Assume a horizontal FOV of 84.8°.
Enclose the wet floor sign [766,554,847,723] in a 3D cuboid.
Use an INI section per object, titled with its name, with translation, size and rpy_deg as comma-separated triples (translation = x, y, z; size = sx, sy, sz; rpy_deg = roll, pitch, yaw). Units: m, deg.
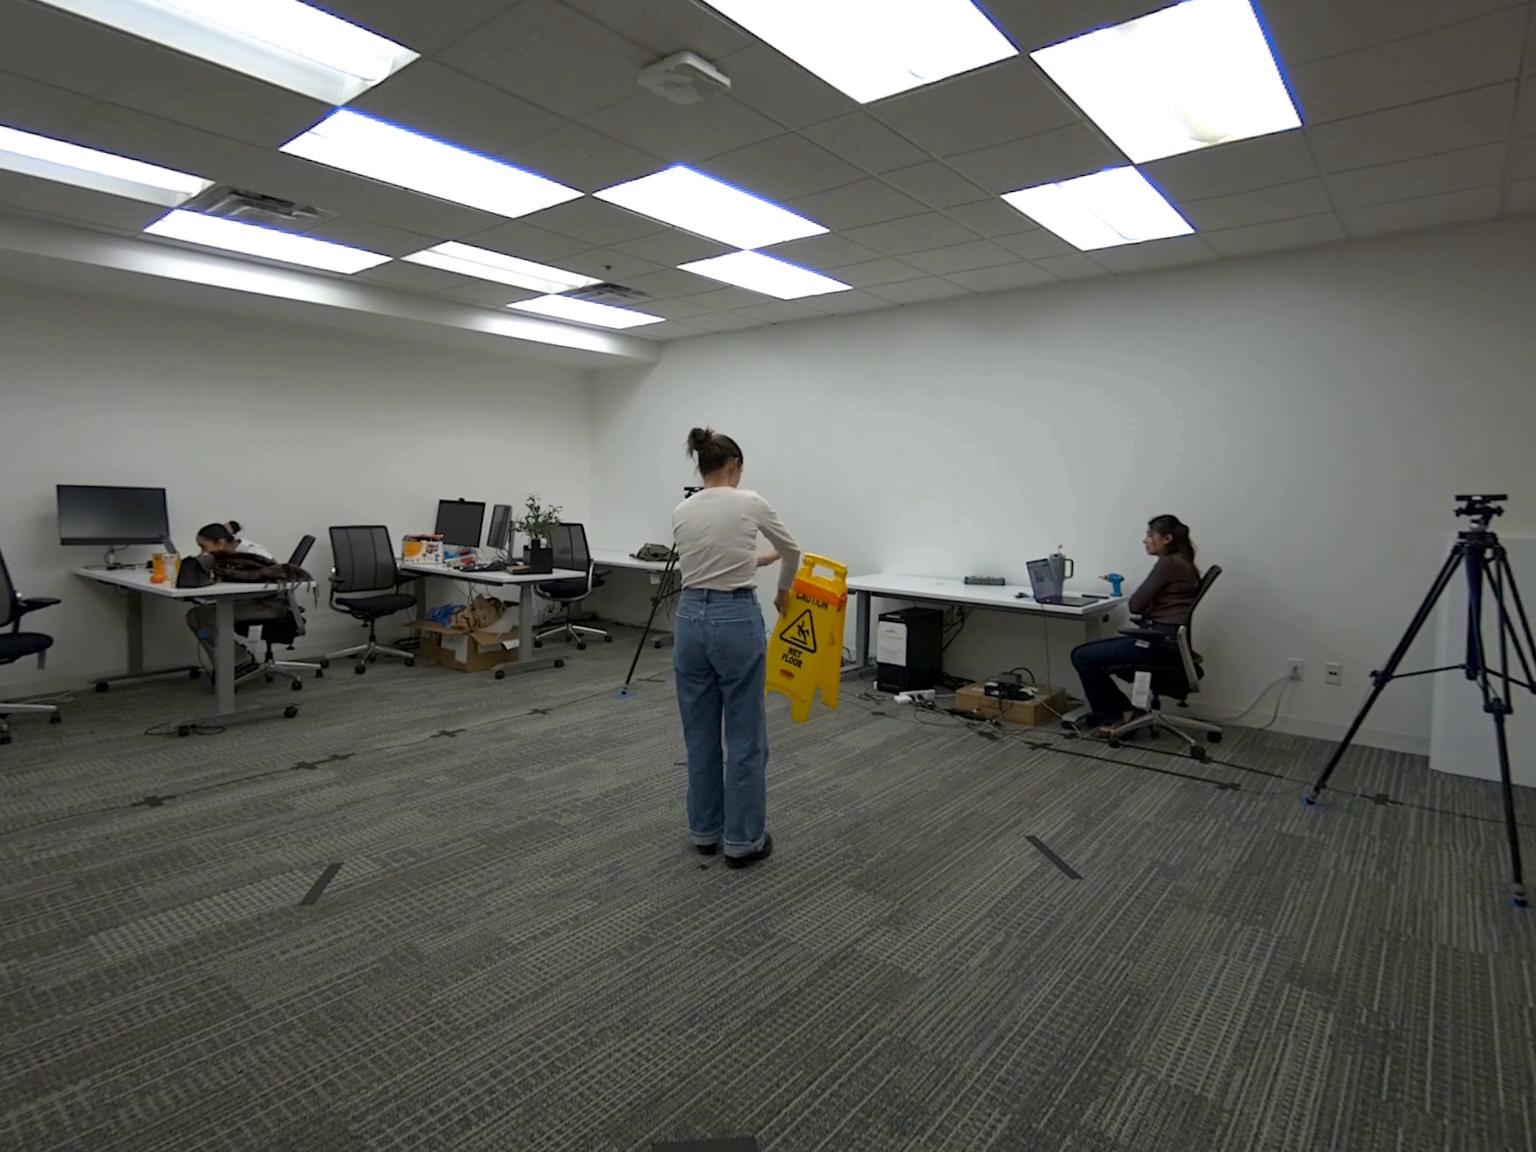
[wet floor sign]
translation = 0.156, 0.228, 3.560
size = 0.292, 0.641, 0.282
rpy_deg = 21, 13, 30
